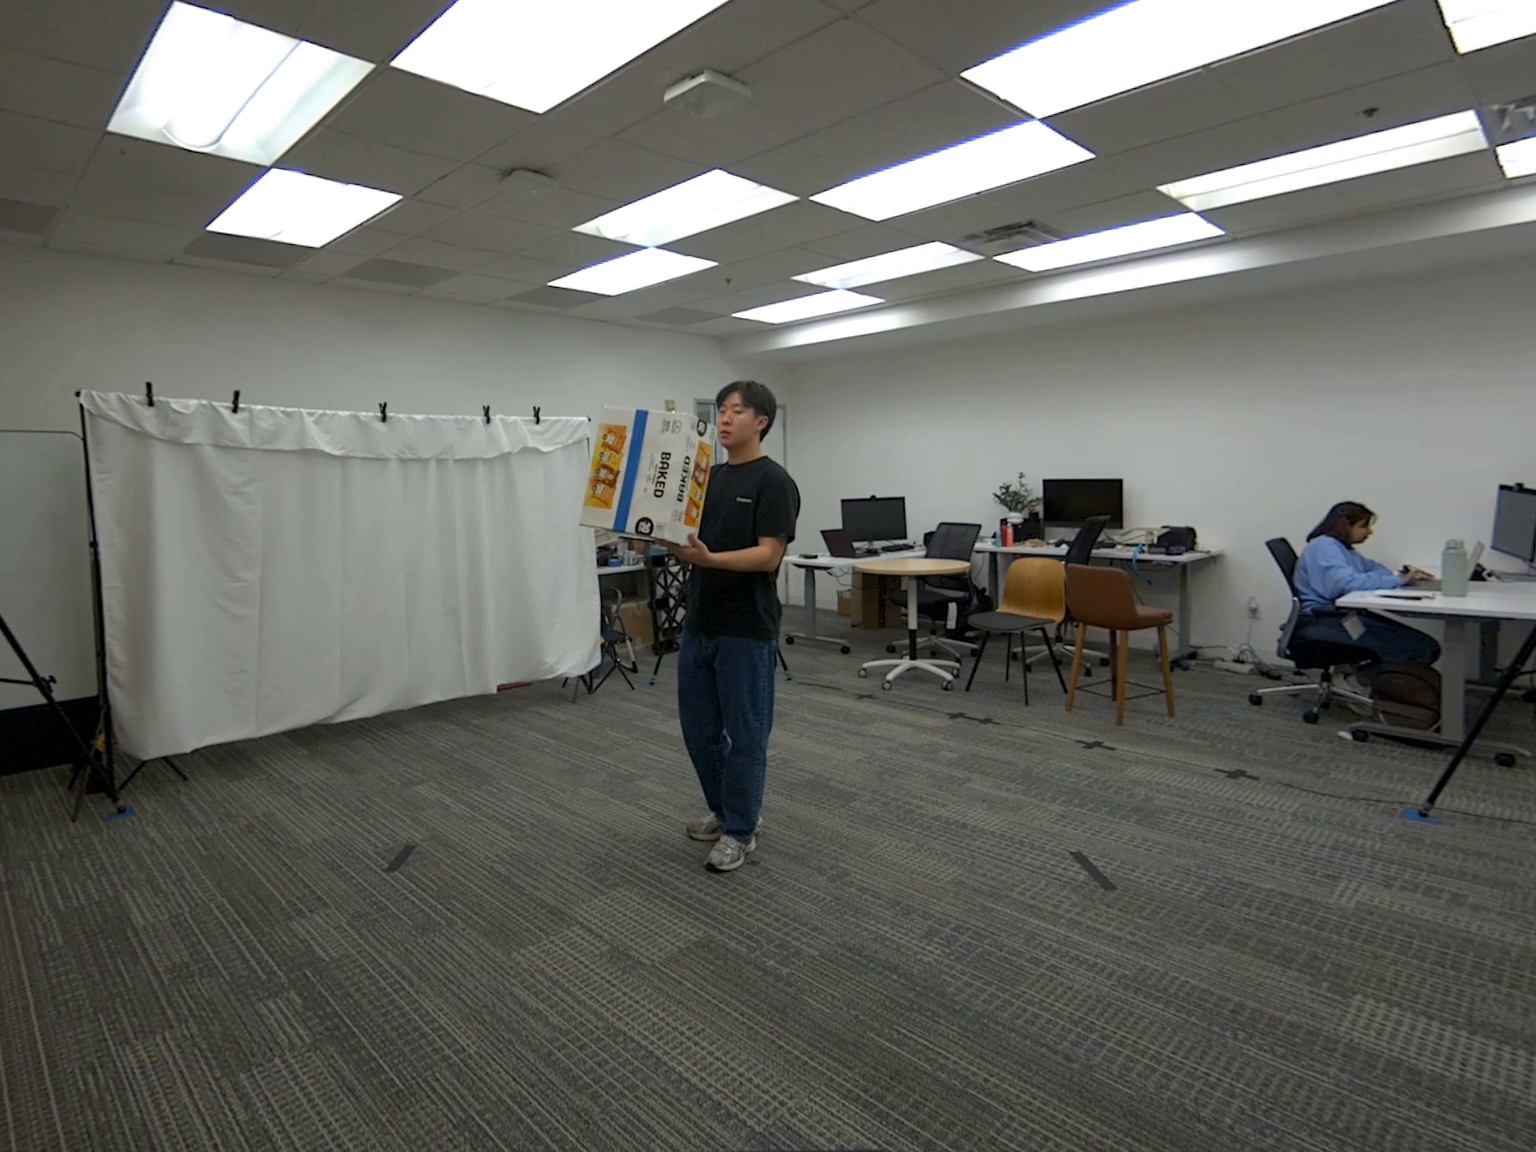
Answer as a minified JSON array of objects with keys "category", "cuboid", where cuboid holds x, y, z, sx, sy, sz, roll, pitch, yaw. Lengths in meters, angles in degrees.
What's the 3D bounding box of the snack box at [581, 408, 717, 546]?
[{"category":"snack box","cuboid":[-0.388,-0.329,2.820,0.350,0.406,0.200,10,-2,27]}]
